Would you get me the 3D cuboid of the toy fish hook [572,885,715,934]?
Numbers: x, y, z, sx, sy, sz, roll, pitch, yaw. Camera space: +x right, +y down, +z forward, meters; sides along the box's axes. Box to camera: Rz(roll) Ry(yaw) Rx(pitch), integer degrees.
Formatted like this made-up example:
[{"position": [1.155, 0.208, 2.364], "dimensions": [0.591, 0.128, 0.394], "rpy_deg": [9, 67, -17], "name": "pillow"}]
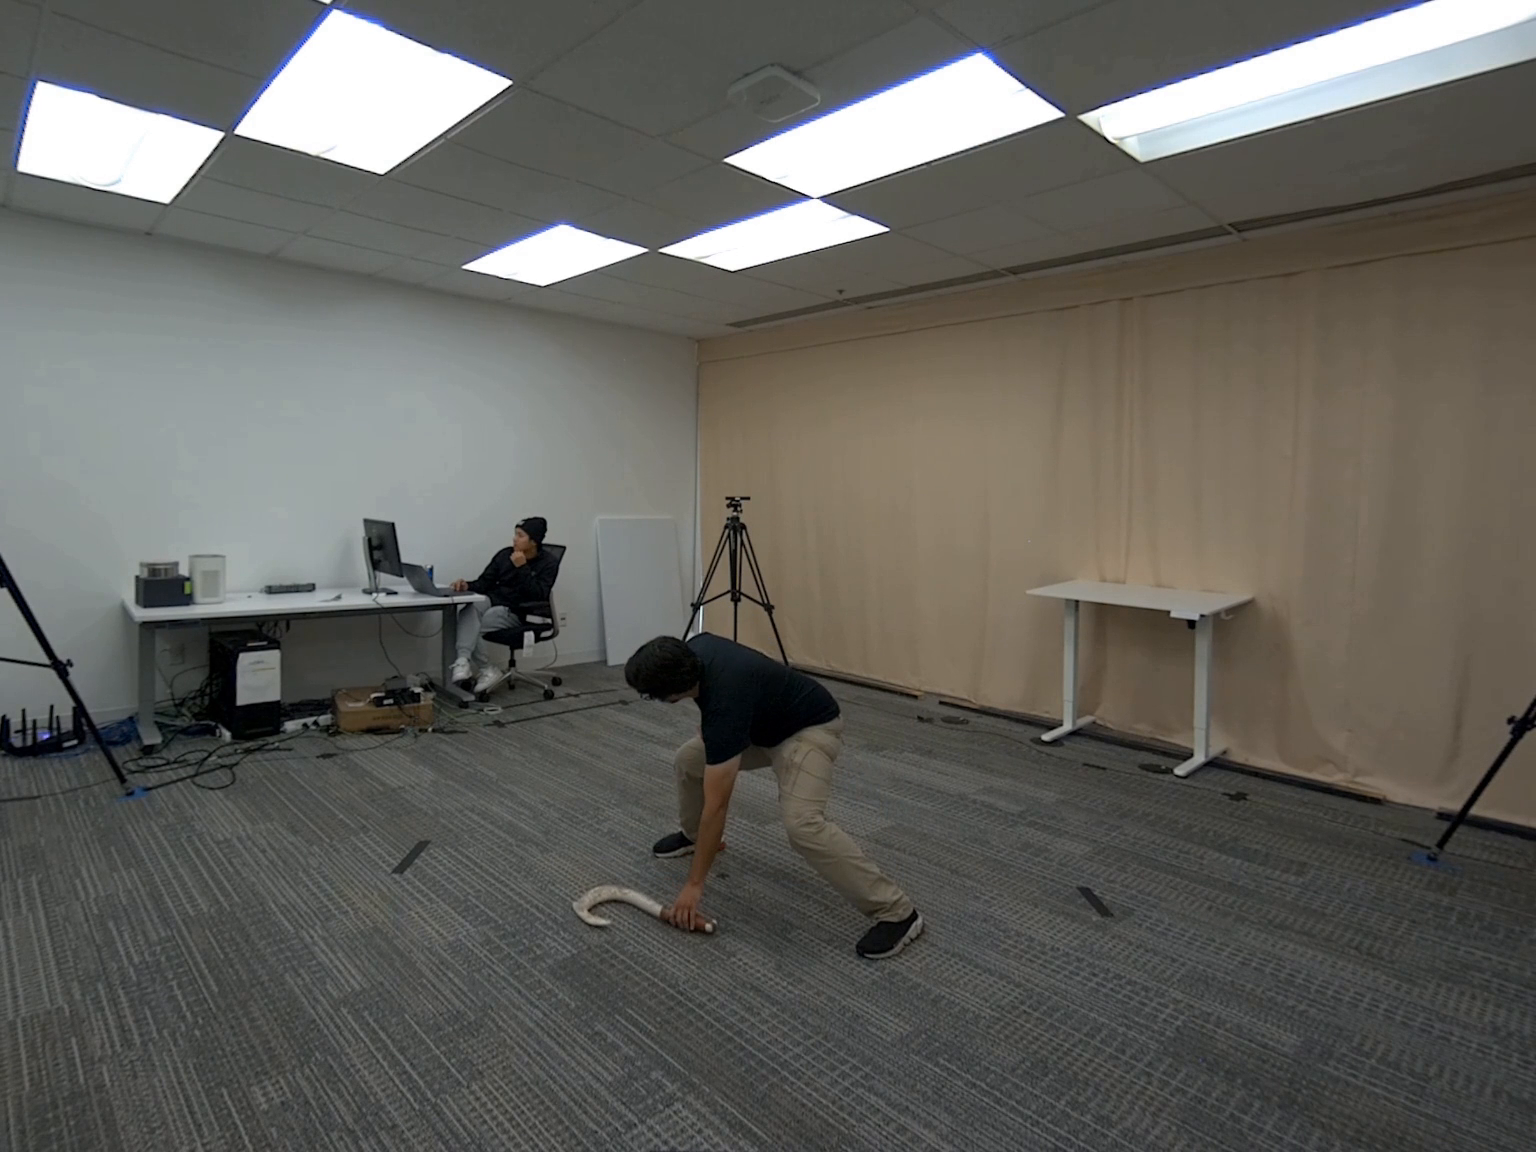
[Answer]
[{"position": [-0.420, 1.110, 2.754], "dimensions": [0.517, 0.048, 0.221], "rpy_deg": [1, 12, 30], "name": "toy fish hook"}]
